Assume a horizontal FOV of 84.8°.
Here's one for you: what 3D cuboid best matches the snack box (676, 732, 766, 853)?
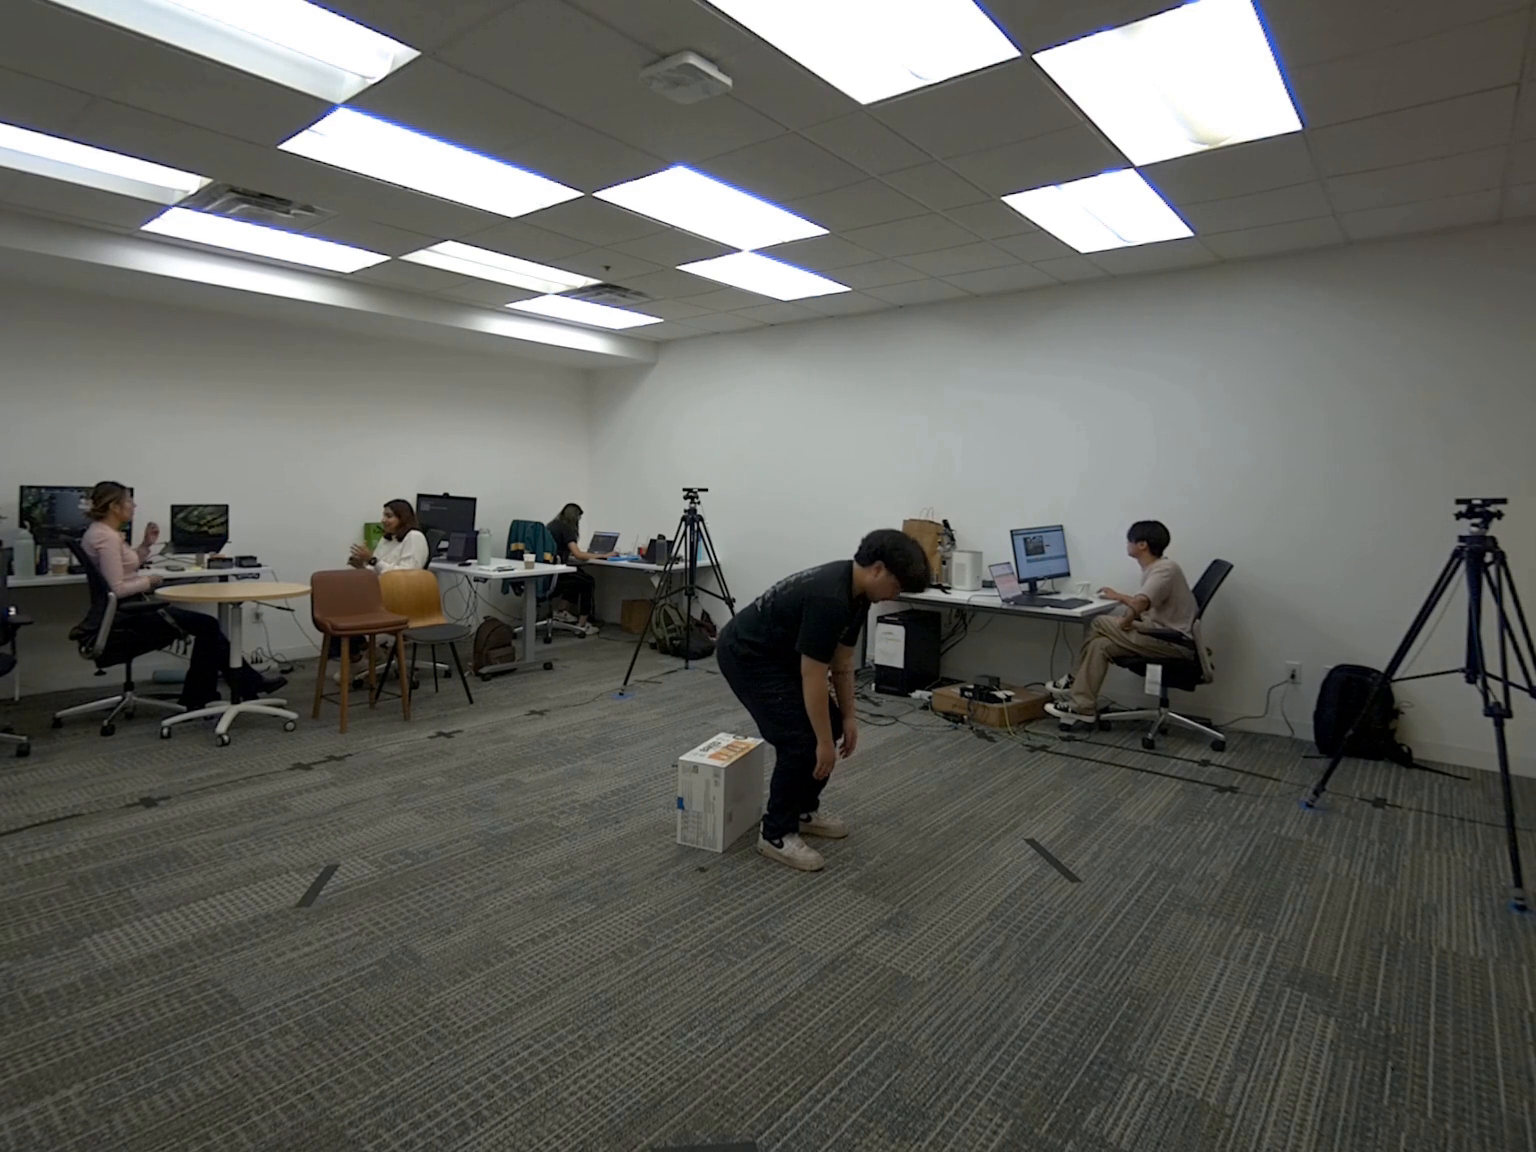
[{"bbox_3d":[-0.193,0.863,3.458,0.211,0.339,0.397,3,5,23],"label":"snack box"}]
